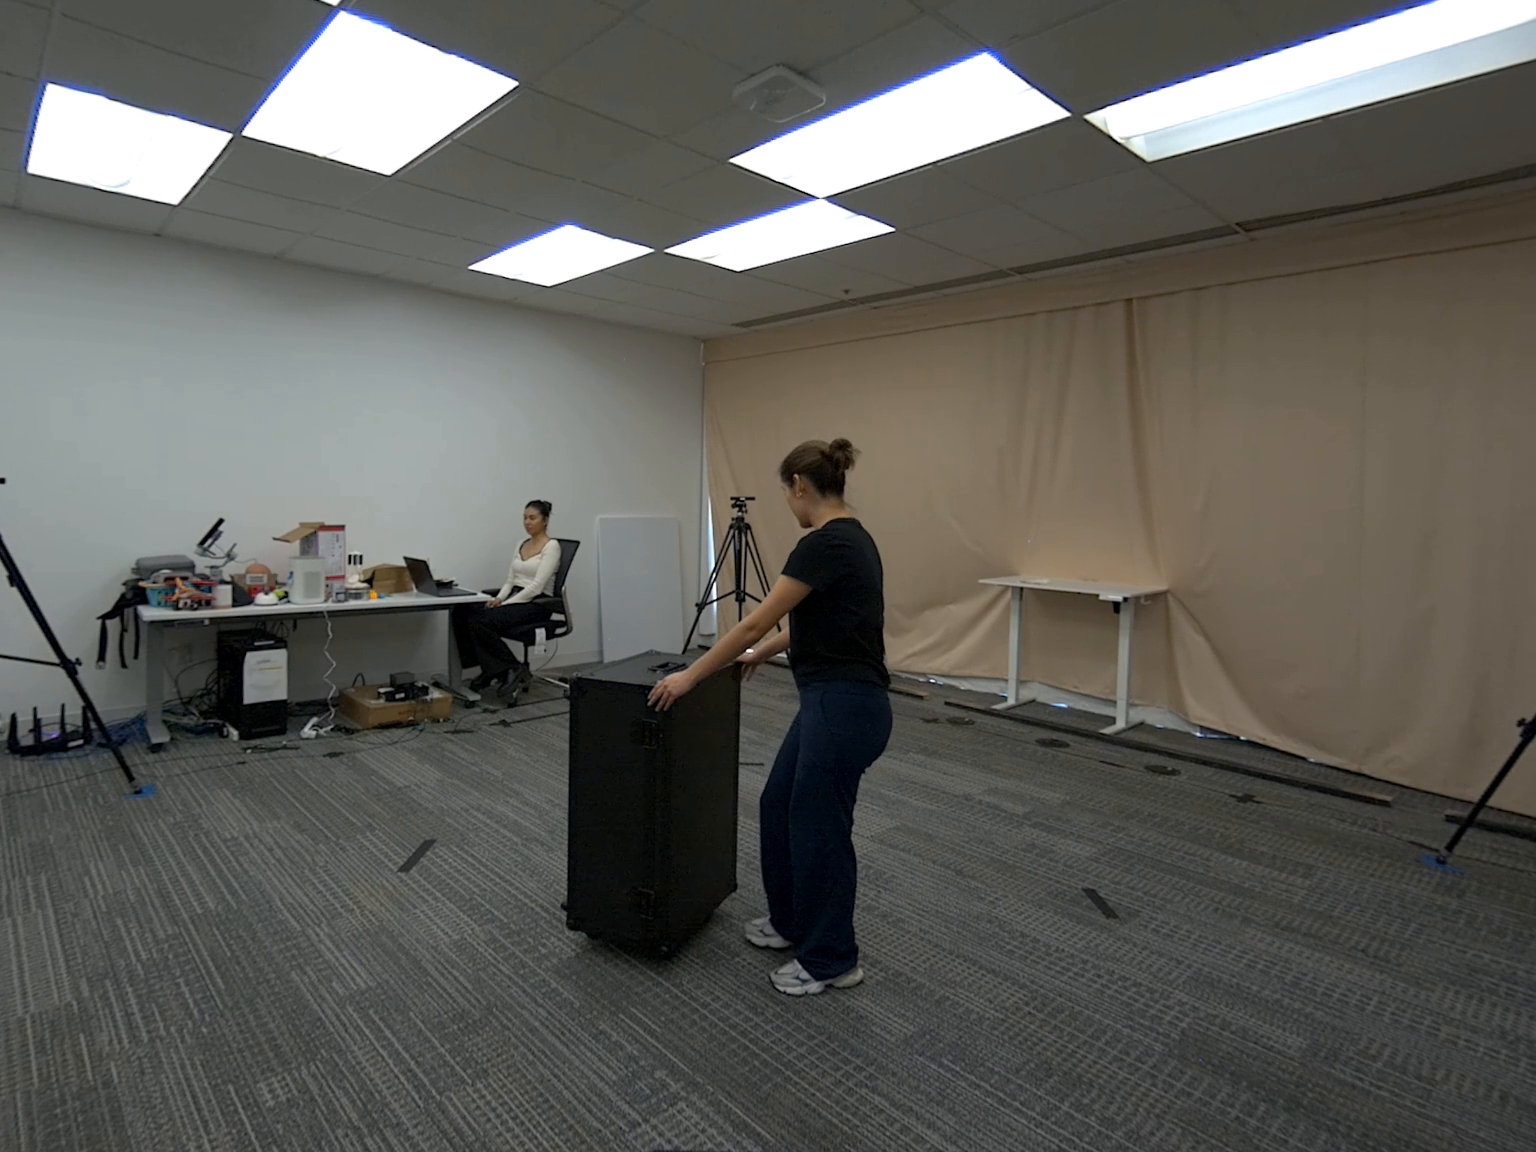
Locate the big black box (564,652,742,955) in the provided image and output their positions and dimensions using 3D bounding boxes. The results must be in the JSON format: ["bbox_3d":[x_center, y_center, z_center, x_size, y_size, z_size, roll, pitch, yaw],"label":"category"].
[{"bbox_3d":[-0.366,0.715,2.676,0.404,0.860,0.513,2,3,24],"label":"big black box"}]
